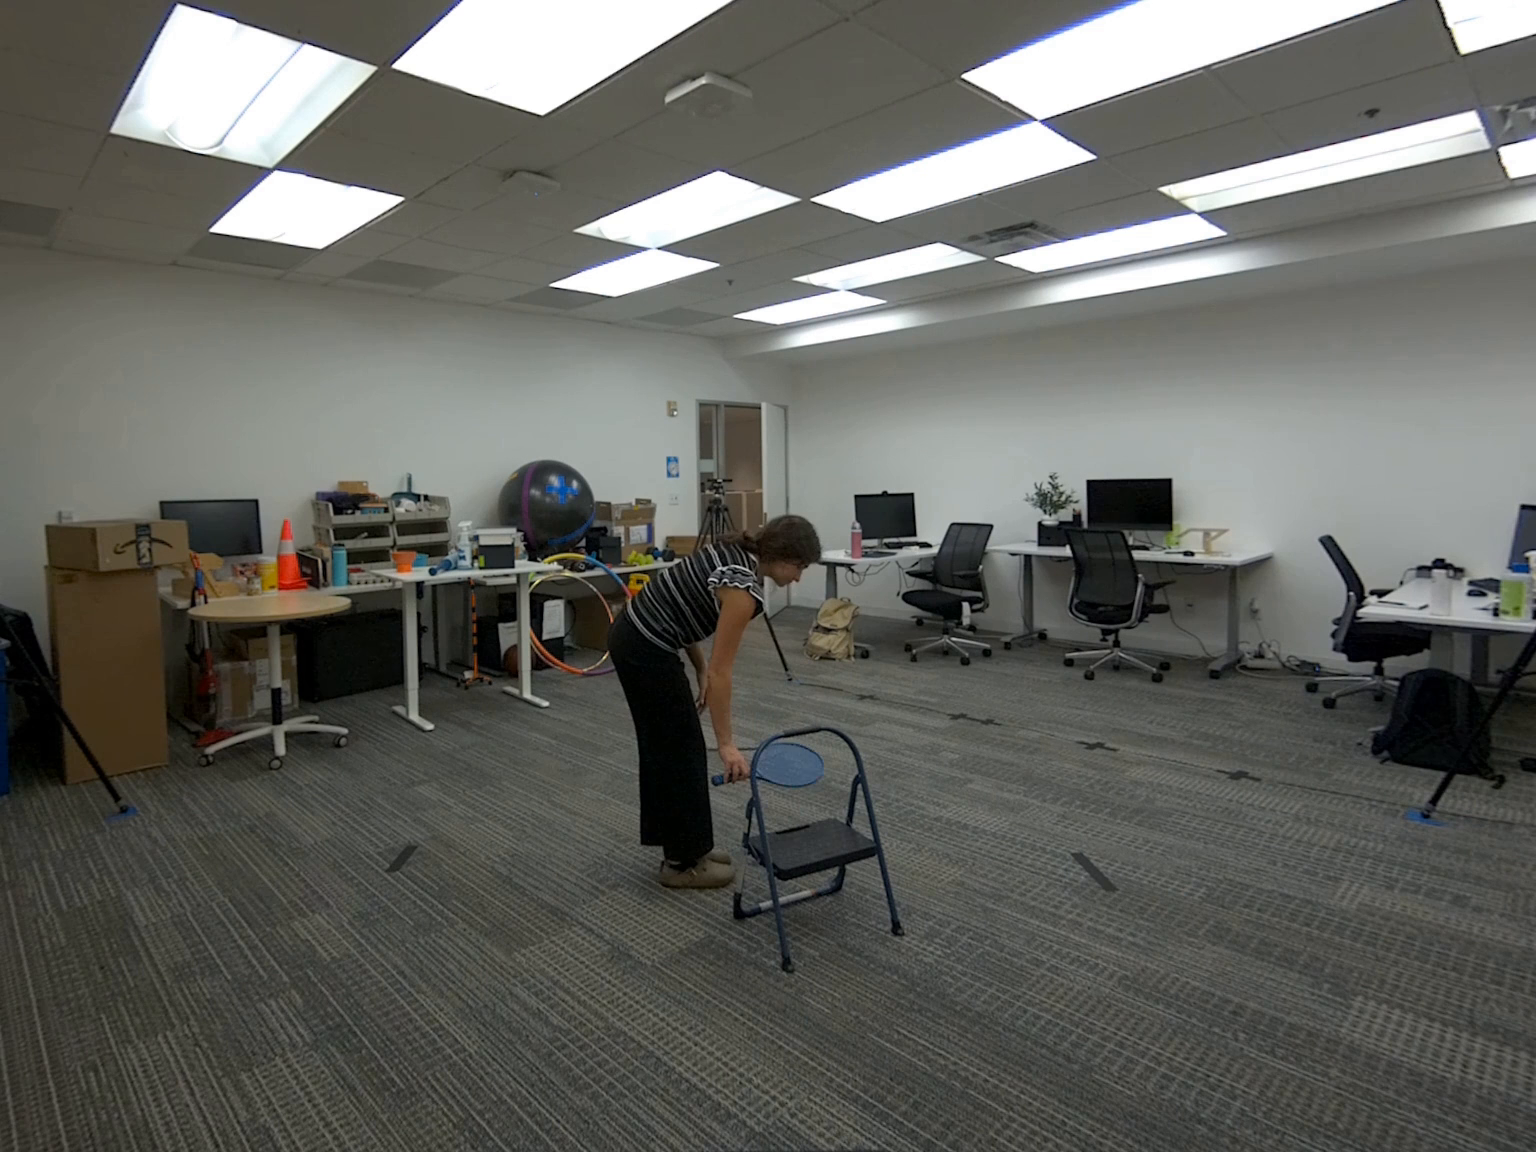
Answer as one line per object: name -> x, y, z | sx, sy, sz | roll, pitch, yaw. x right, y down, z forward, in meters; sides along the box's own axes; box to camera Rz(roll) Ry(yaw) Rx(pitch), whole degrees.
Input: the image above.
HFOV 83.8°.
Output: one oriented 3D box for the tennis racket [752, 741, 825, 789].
tennis racket -> 0.005, 0.663, 2.889 | 0.423, 0.031, 0.222 | -4, 27, -27
